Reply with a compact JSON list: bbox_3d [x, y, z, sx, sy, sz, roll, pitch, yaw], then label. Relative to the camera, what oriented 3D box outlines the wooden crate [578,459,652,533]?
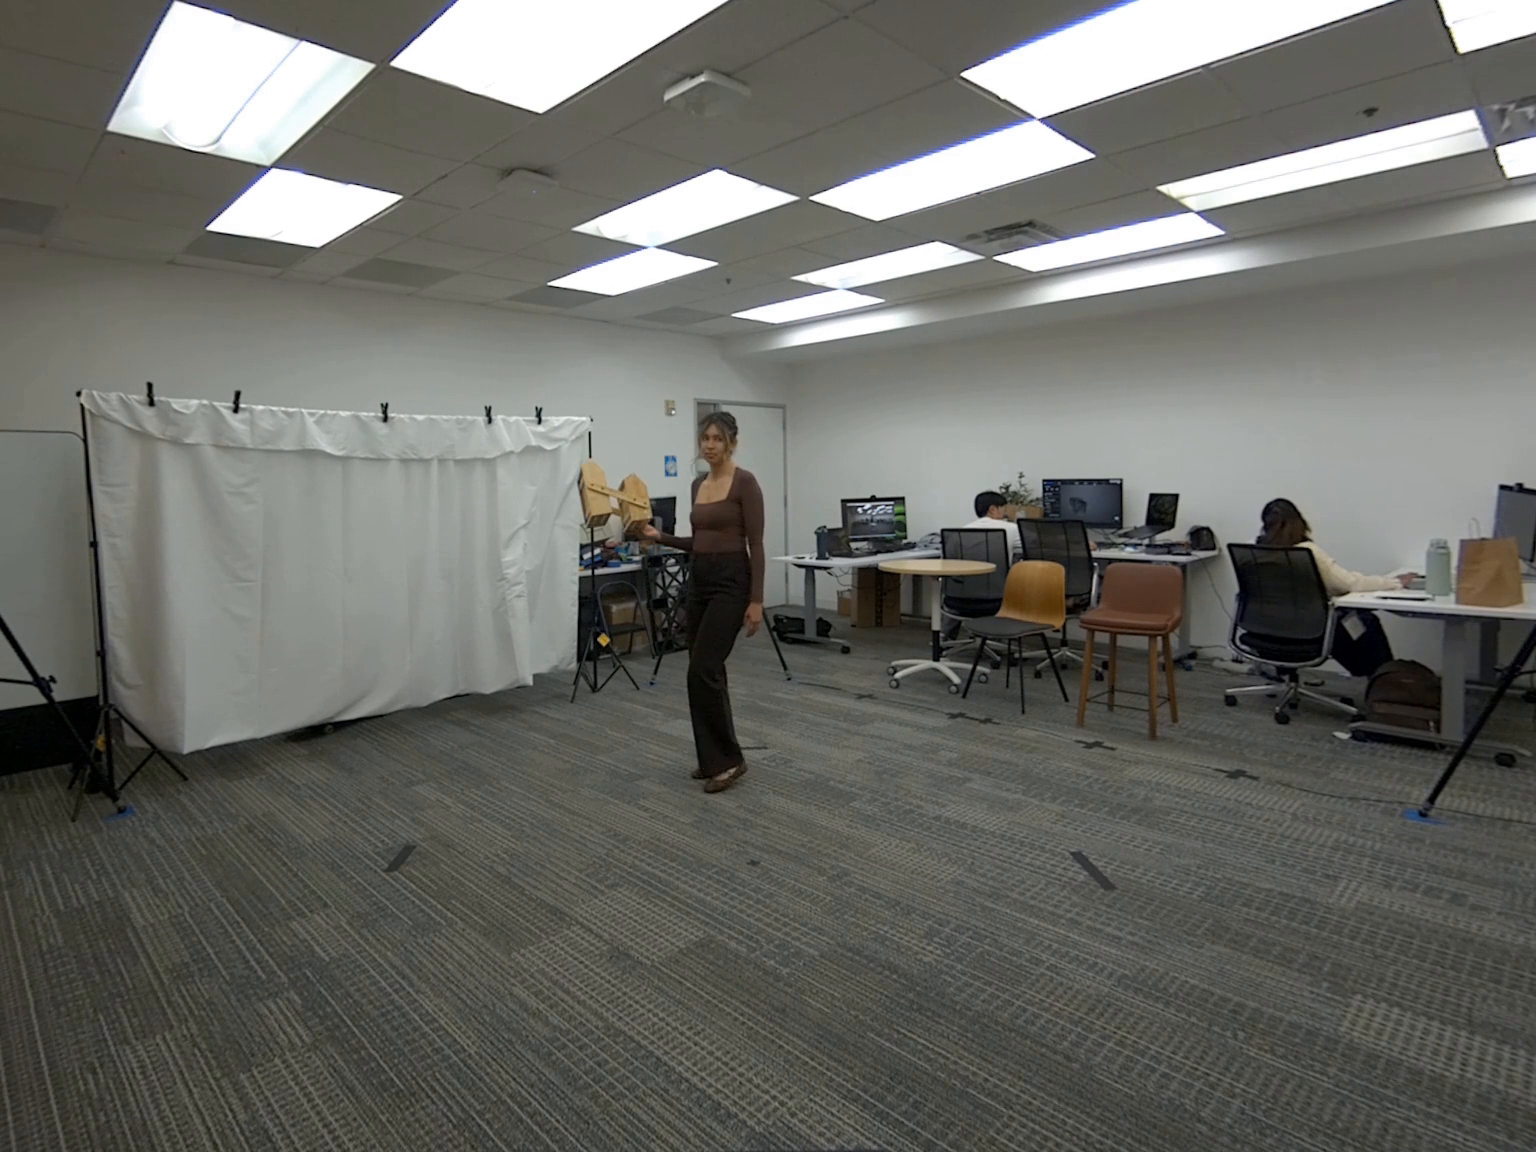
[{"bbox_3d":[-0.690,-0.358,3.844,0.270,0.304,0.326,-10,-7,-16],"label":"wooden crate"}]
